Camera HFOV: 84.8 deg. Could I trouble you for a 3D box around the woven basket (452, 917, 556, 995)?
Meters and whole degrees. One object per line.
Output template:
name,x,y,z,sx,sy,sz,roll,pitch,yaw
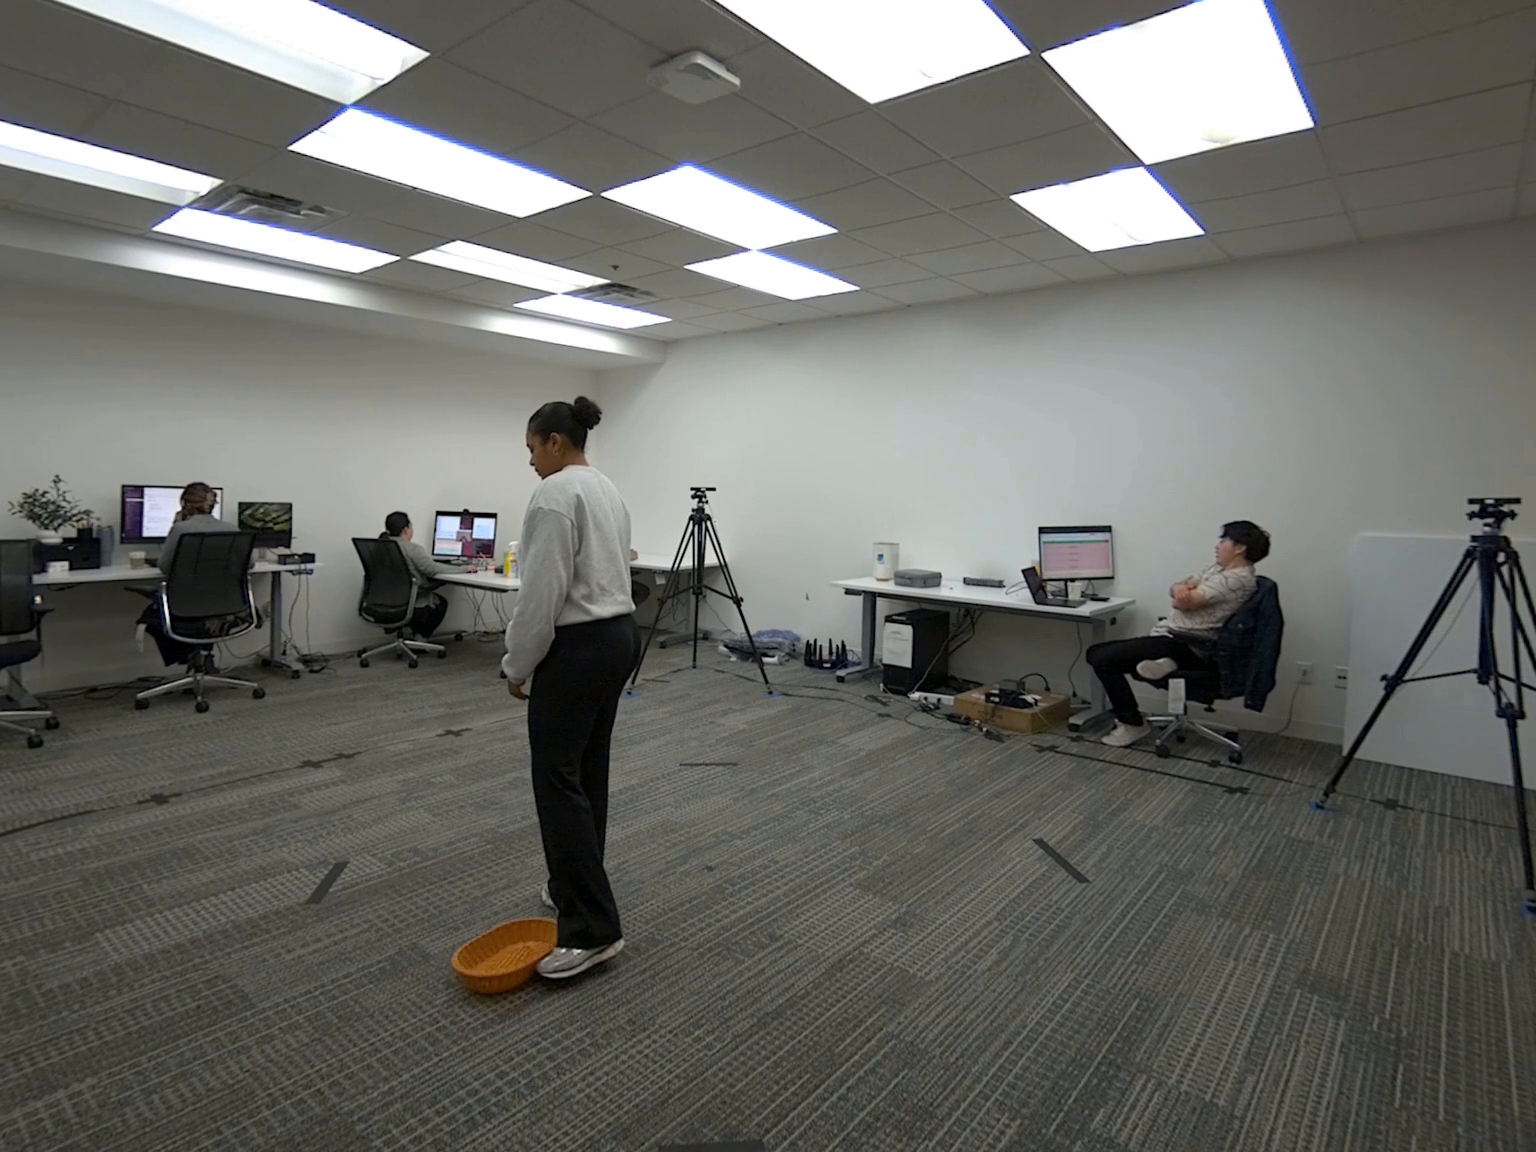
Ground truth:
woven basket,-0.769,1.080,2.448,0.260,0.073,0.341,-1,3,34
